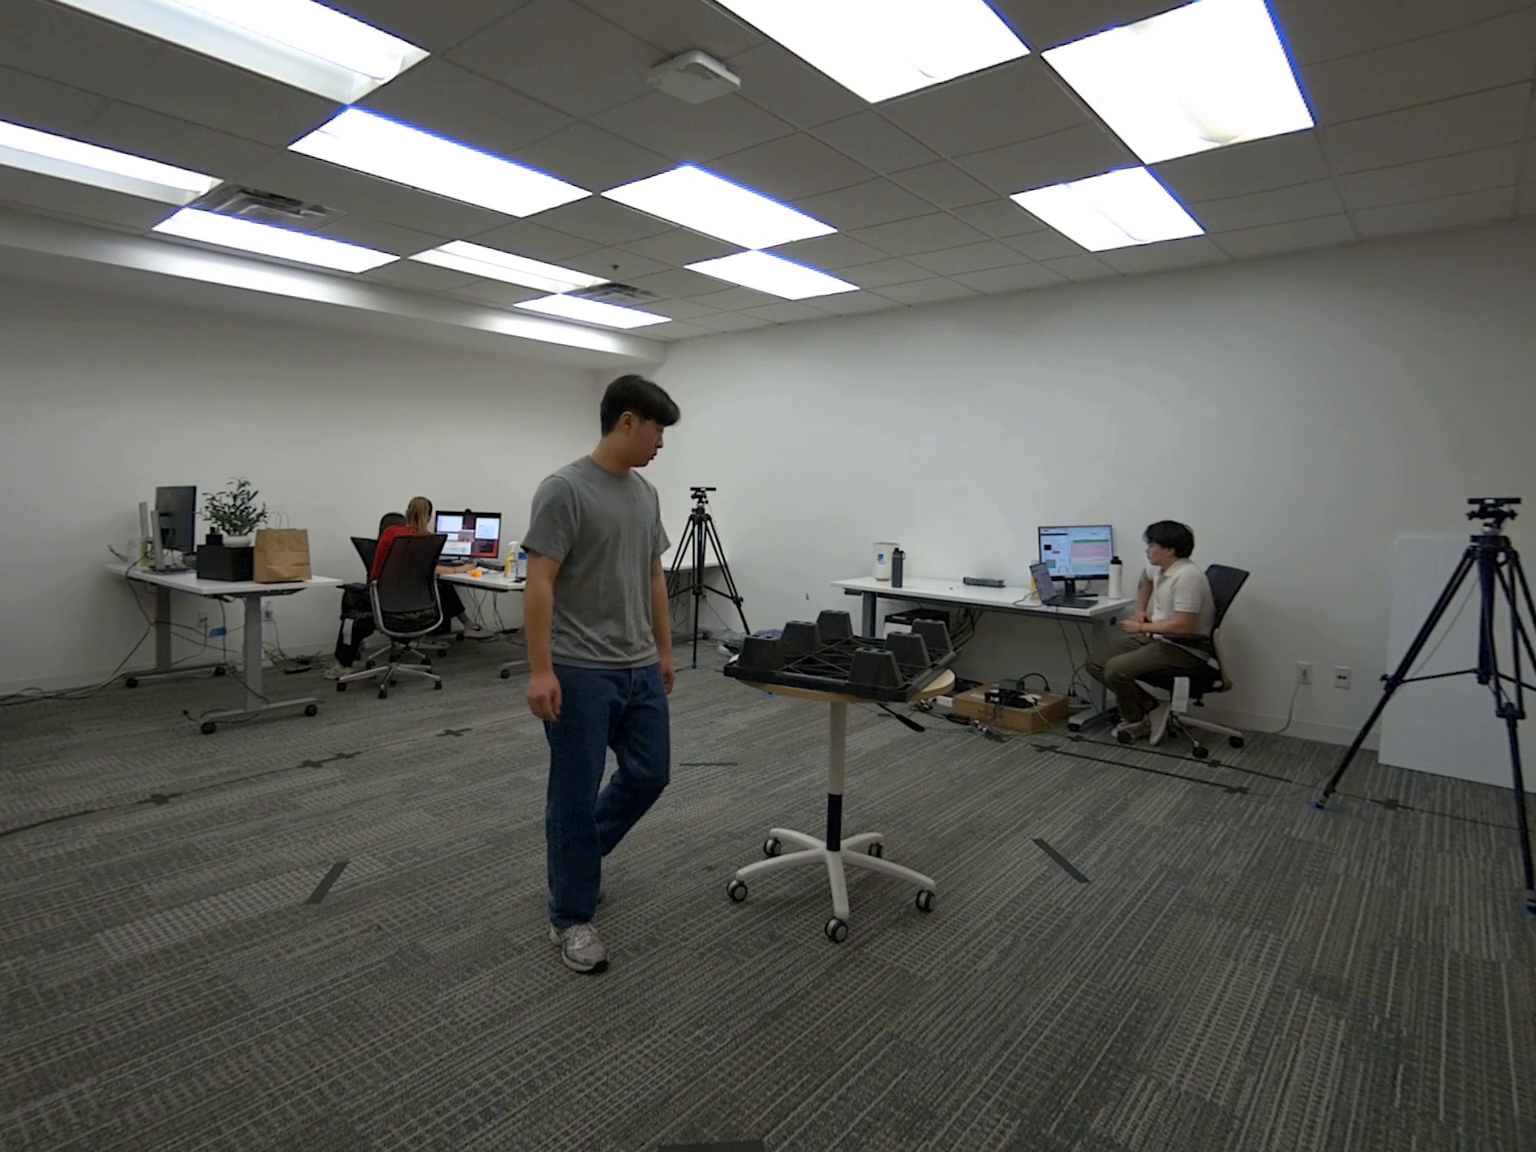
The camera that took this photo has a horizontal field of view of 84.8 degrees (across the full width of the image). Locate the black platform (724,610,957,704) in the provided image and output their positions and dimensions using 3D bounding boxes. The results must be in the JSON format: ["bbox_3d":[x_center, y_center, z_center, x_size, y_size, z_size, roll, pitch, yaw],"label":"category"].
[{"bbox_3d":[0.282,0.245,2.946,0.621,0.142,0.788,5,7,25],"label":"black platform"}]
